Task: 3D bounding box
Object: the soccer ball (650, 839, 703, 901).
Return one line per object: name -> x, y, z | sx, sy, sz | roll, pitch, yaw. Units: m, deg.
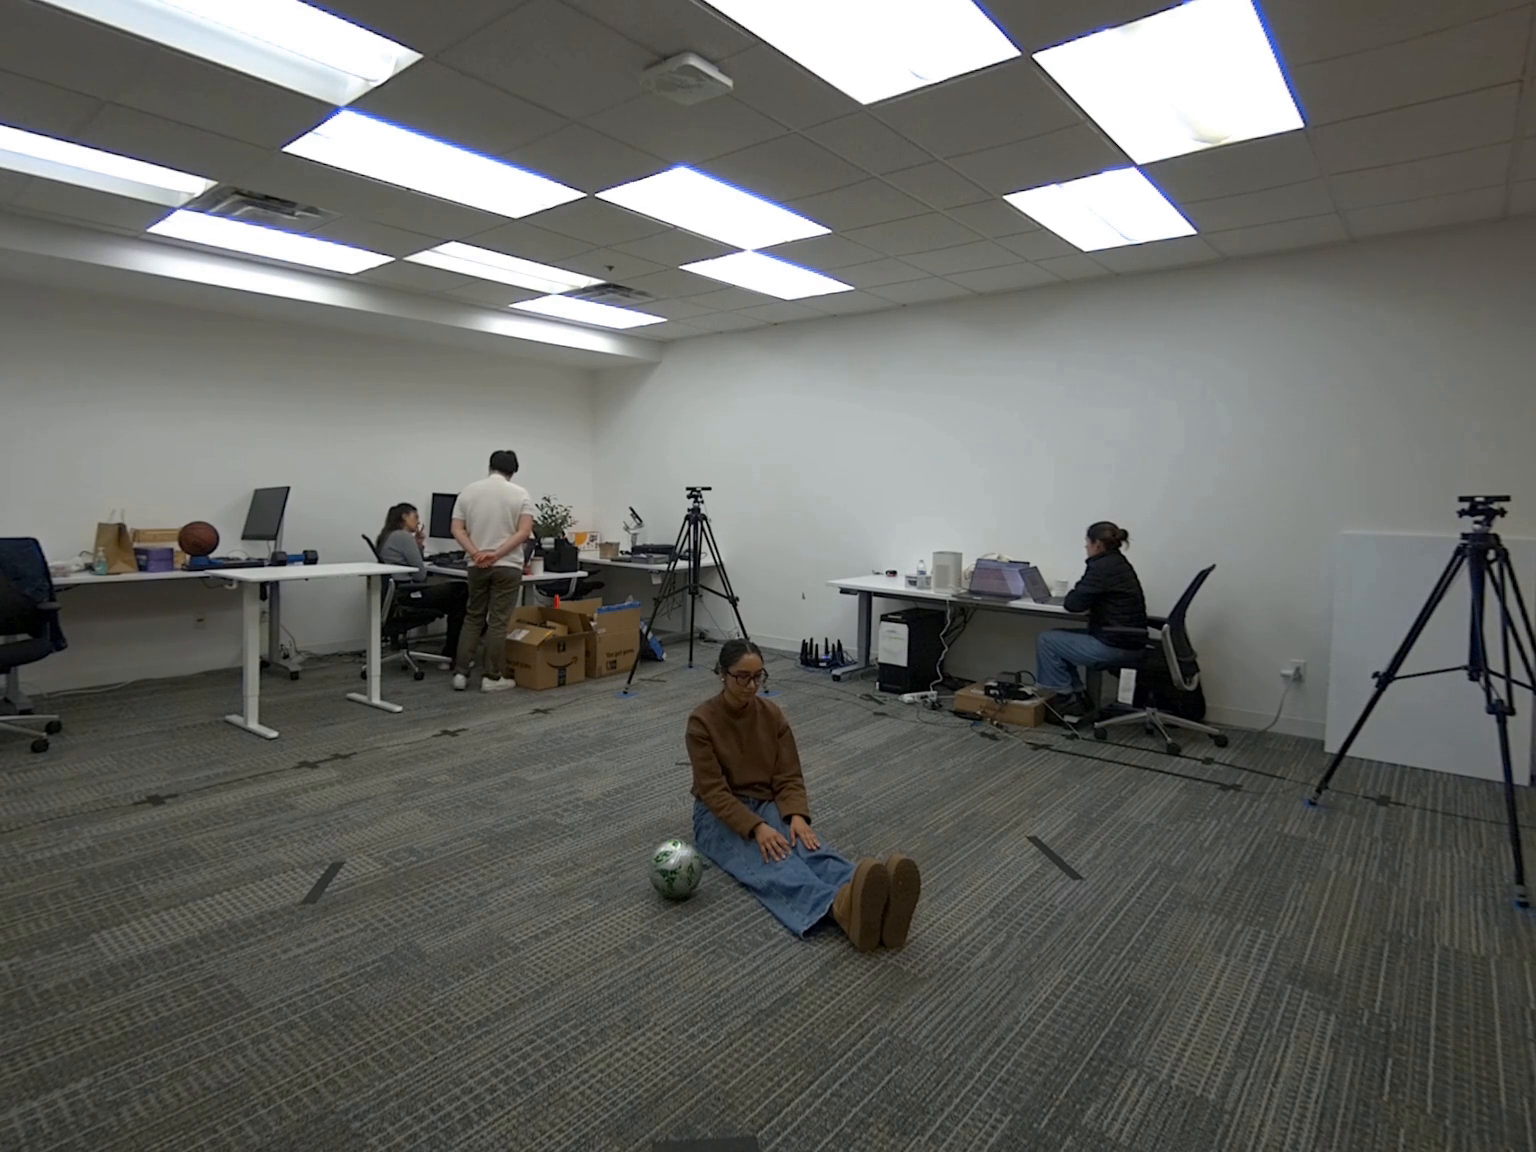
soccer ball -> -0.325, 0.994, 2.889 | 0.187, 0.187, 0.188 | 1, 4, -2
